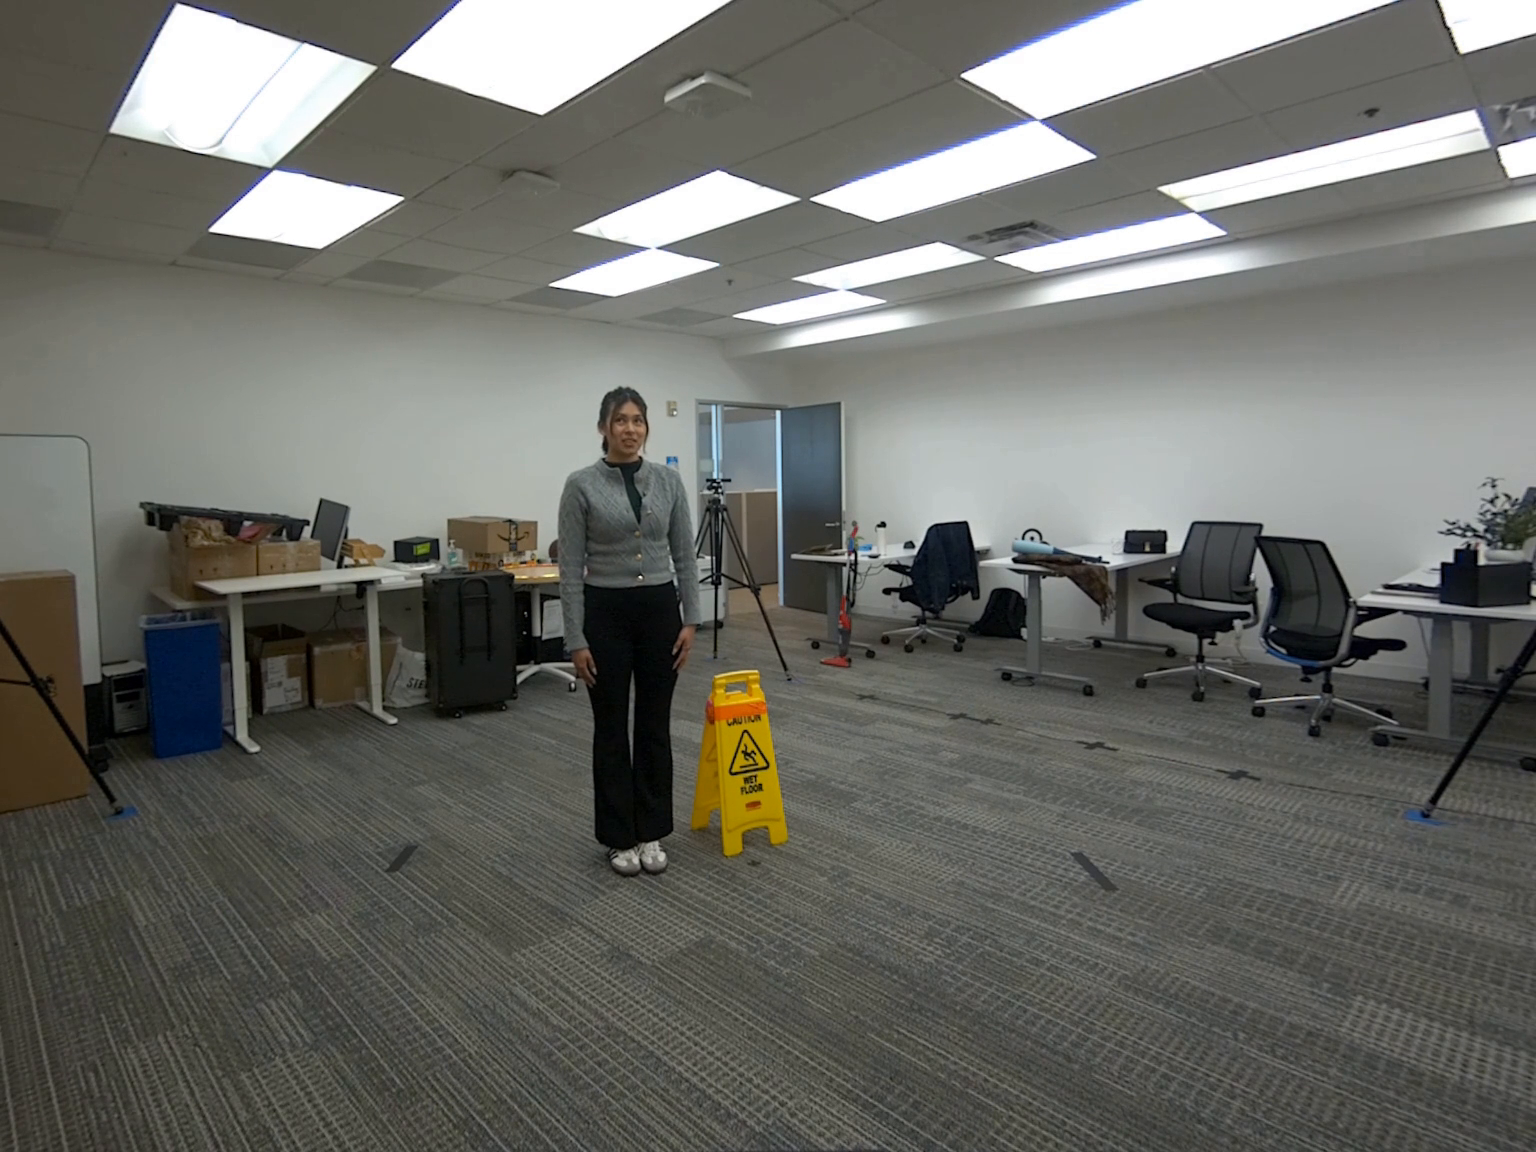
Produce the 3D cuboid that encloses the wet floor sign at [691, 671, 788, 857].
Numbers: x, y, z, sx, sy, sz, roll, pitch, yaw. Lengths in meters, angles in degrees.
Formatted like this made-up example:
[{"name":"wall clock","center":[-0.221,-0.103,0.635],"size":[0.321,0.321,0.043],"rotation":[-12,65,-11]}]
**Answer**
[{"name":"wet floor sign","center":[-0.118,0.696,3.335],"size":[0.276,0.644,0.298],"rotation":[-3,5,-30]}]
